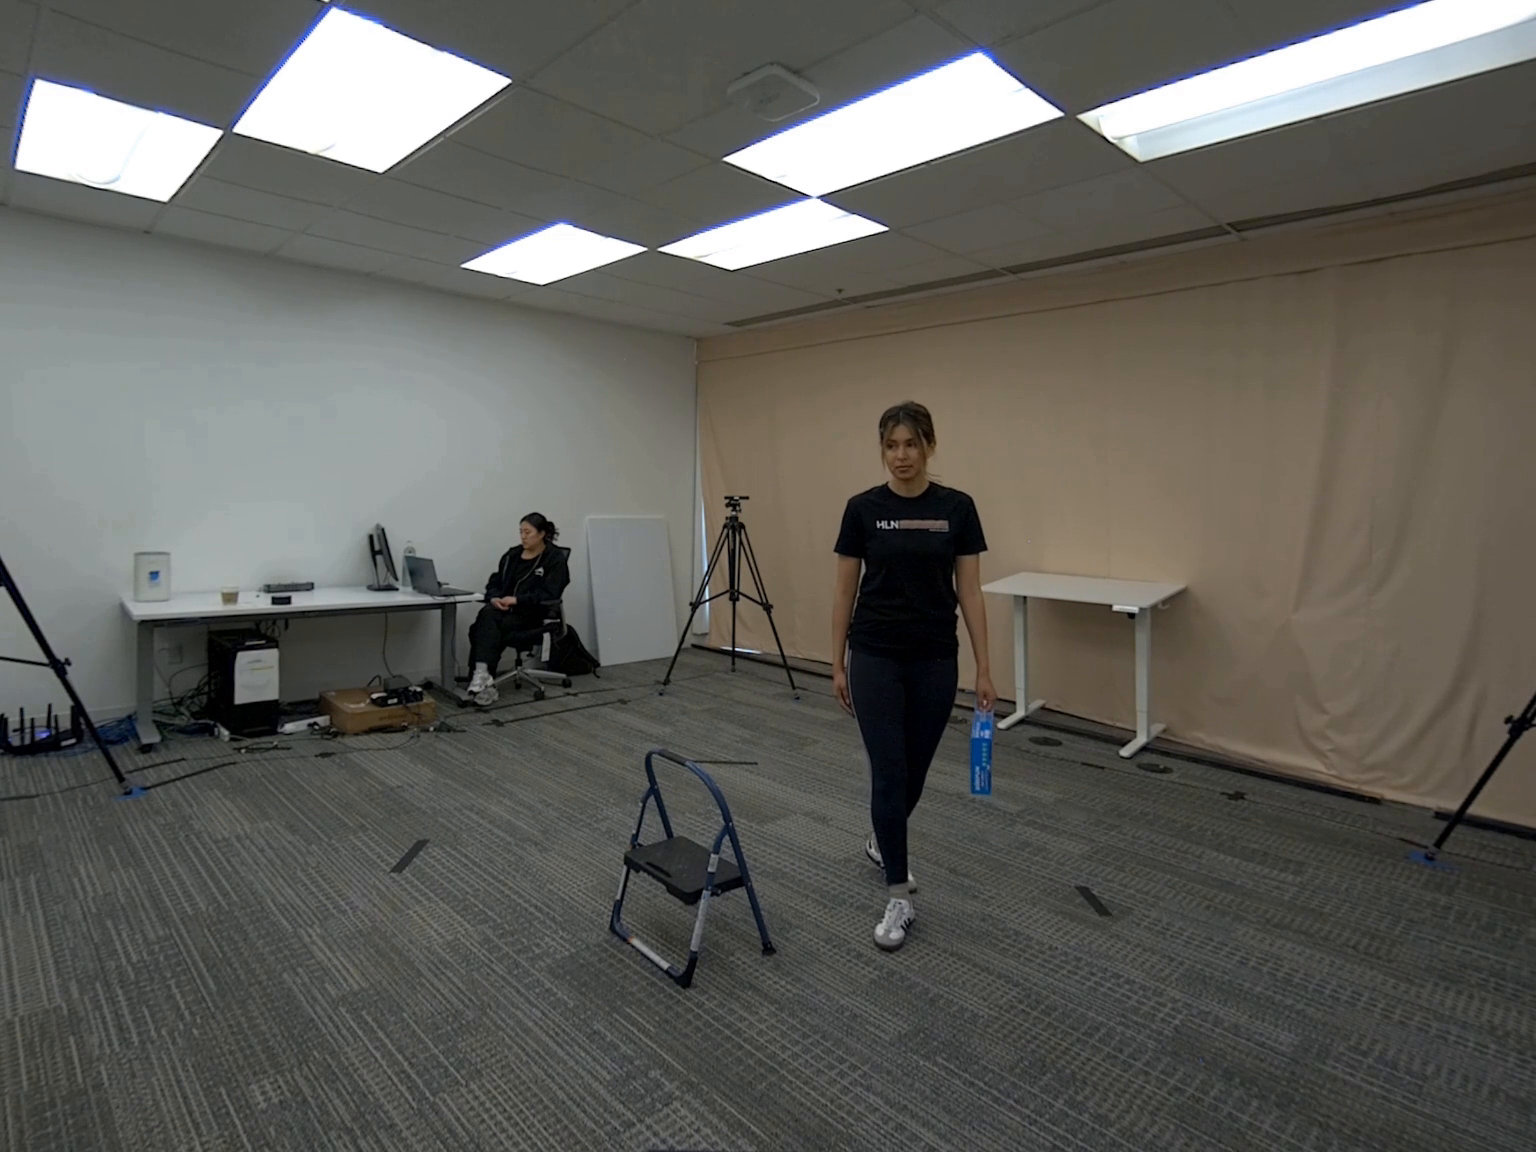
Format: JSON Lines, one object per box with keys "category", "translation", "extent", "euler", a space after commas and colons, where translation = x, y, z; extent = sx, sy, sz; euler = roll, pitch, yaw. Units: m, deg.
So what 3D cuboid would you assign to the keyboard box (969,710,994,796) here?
{"category": "keyboard box", "translation": [0.677, 0.537, 2.700], "extent": [0.060, 0.175, 0.433], "euler": [0, 7, 17]}
